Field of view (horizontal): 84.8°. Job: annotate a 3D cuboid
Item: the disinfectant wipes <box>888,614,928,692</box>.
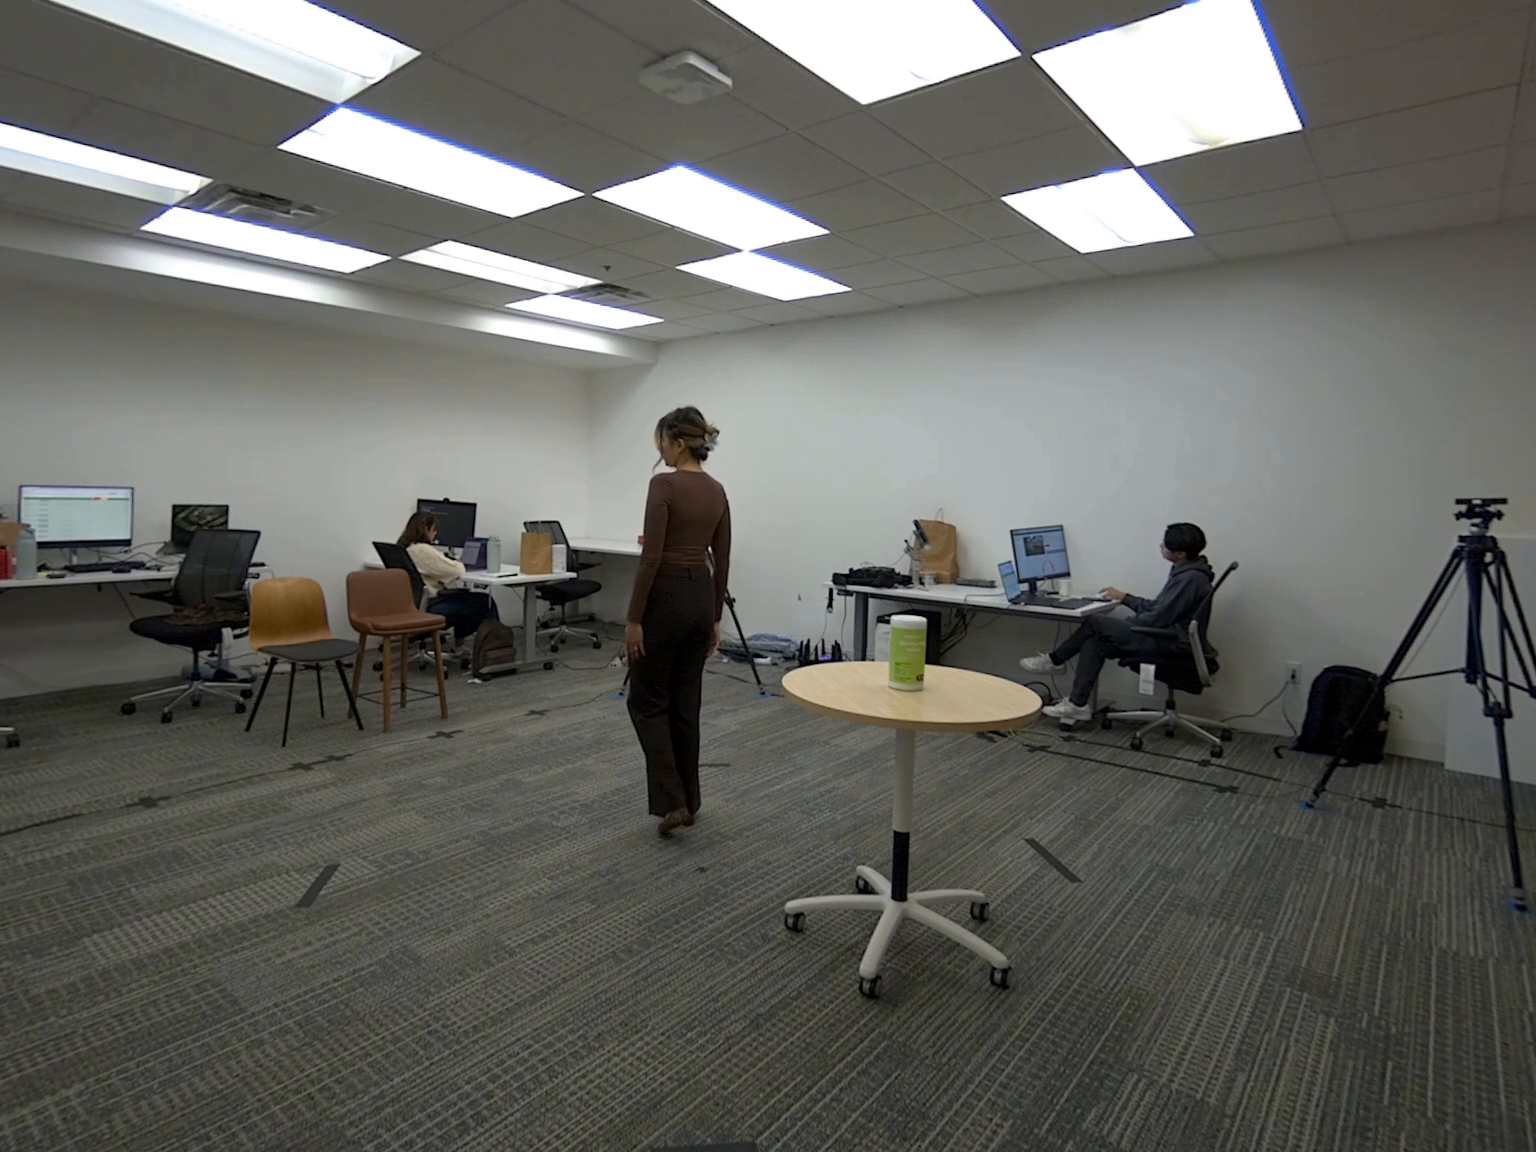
[{"bbox_3d":[0.420,0.233,2.584,0.117,0.217,0.118,2,3,-2],"label":"disinfectant wipes"}]
